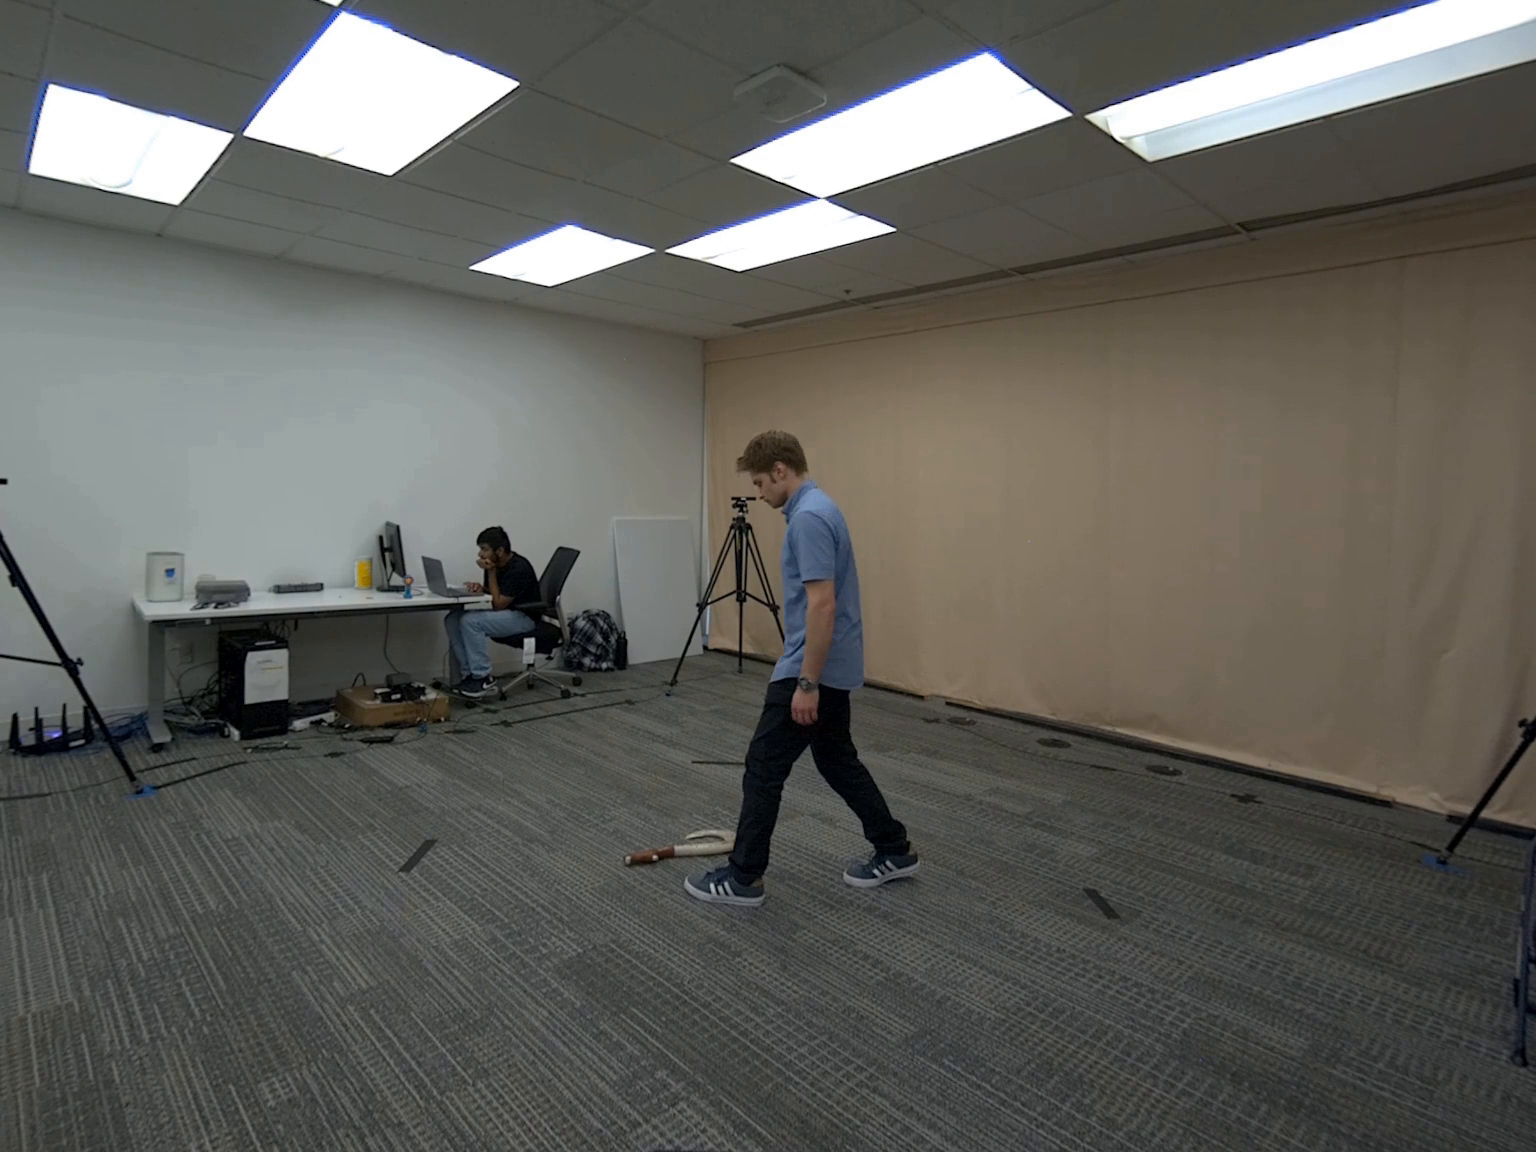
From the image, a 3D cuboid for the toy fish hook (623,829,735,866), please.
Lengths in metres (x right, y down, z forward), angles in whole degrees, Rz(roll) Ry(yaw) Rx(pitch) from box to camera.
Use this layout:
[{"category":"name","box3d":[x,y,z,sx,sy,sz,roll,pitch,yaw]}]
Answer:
[{"category":"toy fish hook","box3d":[-0.352,1.070,3.321,0.497,0.048,0.228,0,-3,-27]}]
